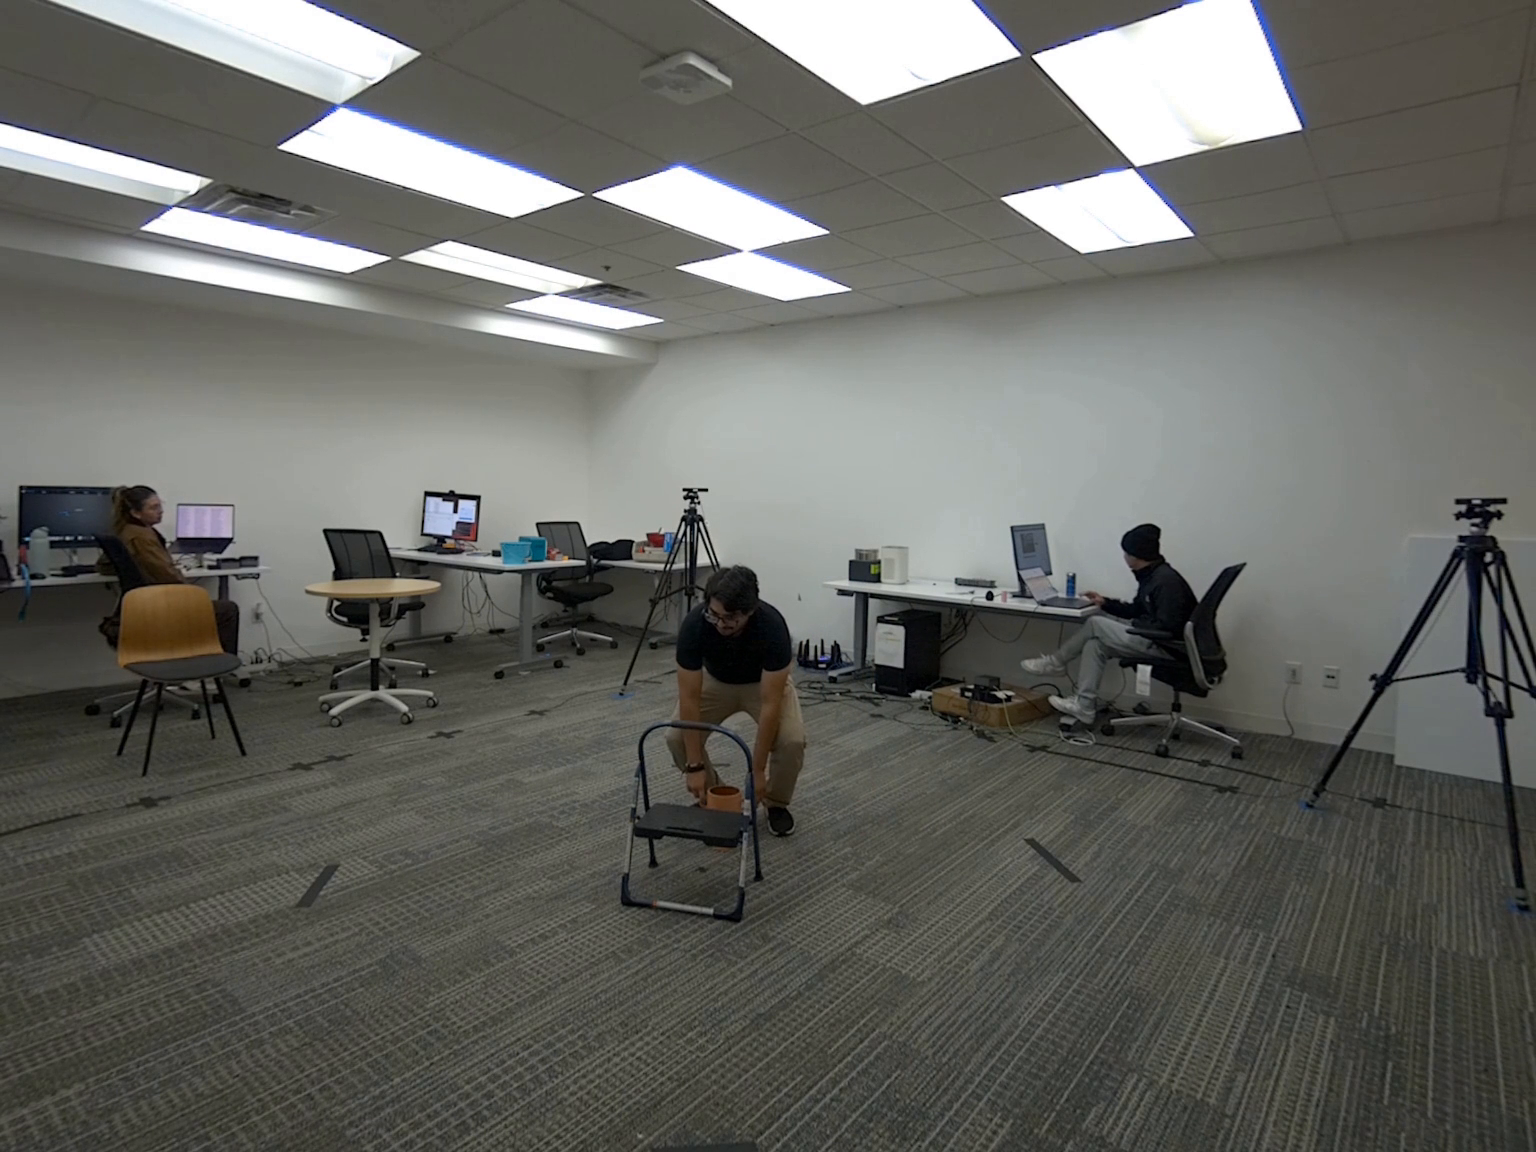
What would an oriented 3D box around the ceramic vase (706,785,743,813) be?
[{"bbox_3d":[-0.173,0.934,3.307,0.164,0.219,0.130,4,3,44],"label":"ceramic vase"}]
